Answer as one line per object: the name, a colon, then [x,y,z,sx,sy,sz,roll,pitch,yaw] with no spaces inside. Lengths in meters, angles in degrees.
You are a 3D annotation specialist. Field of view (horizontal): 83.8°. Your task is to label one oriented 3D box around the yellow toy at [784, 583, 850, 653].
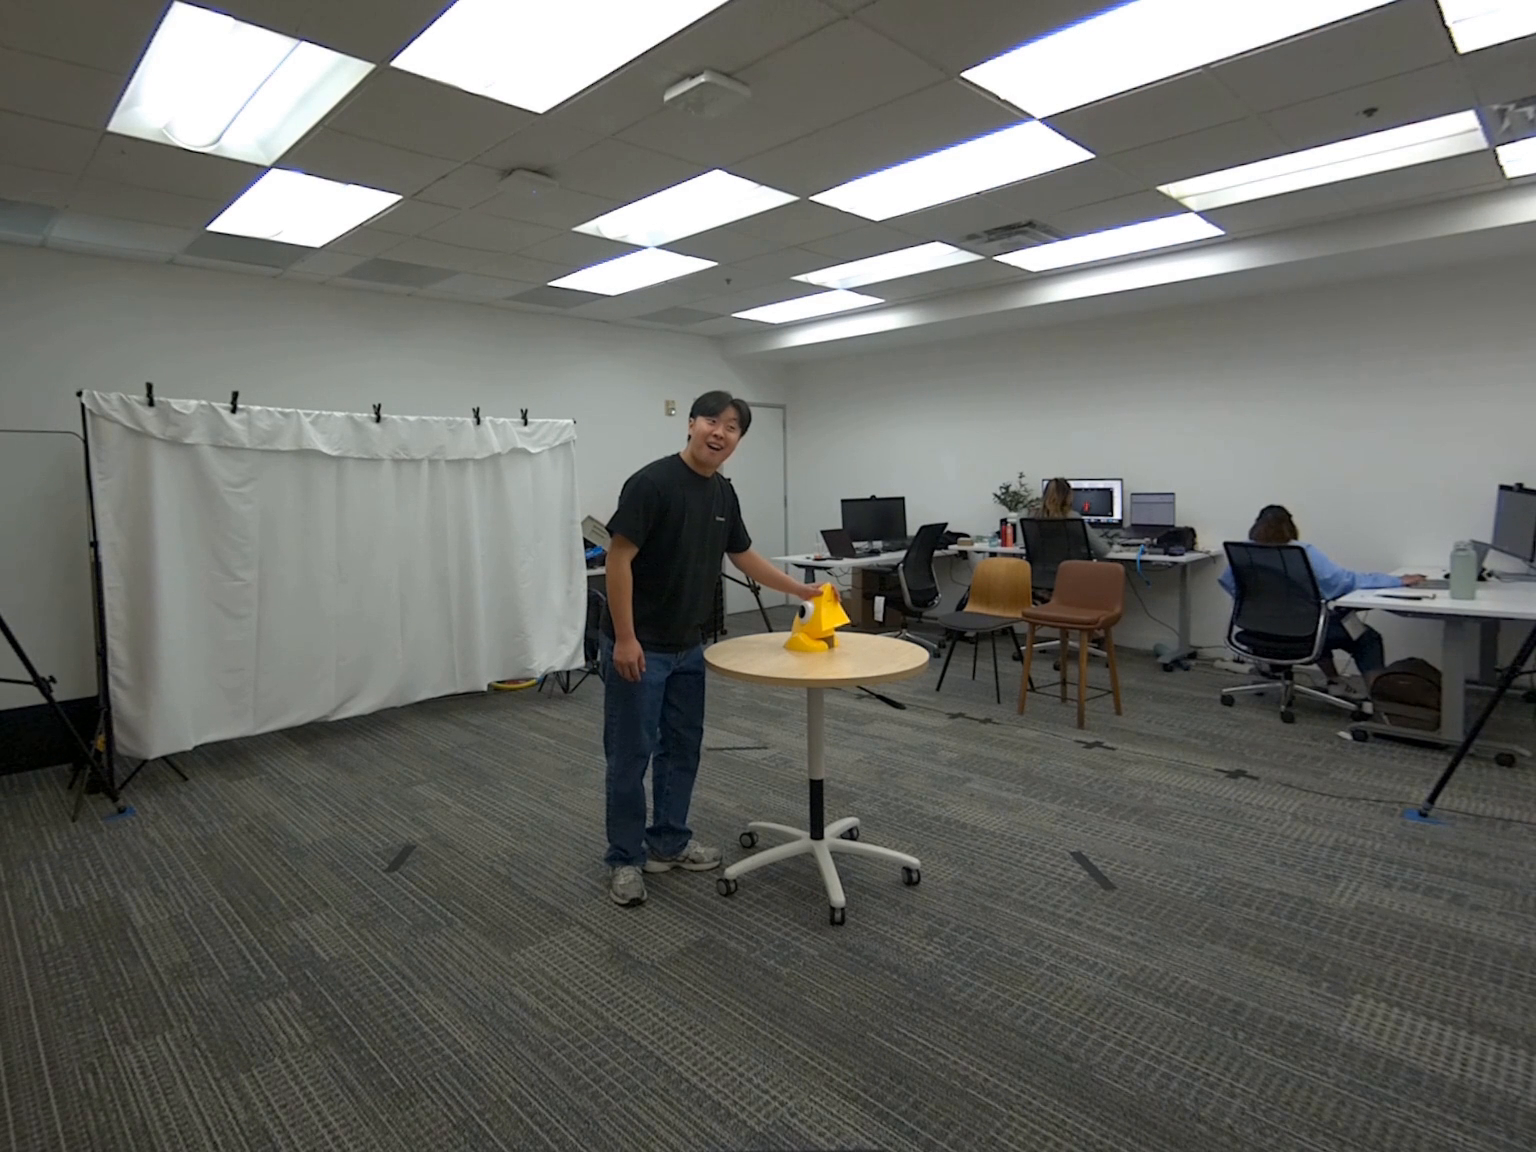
yellow toy: [0.164,0.136,3.029,0.198,0.230,0.200,2,5,32]
